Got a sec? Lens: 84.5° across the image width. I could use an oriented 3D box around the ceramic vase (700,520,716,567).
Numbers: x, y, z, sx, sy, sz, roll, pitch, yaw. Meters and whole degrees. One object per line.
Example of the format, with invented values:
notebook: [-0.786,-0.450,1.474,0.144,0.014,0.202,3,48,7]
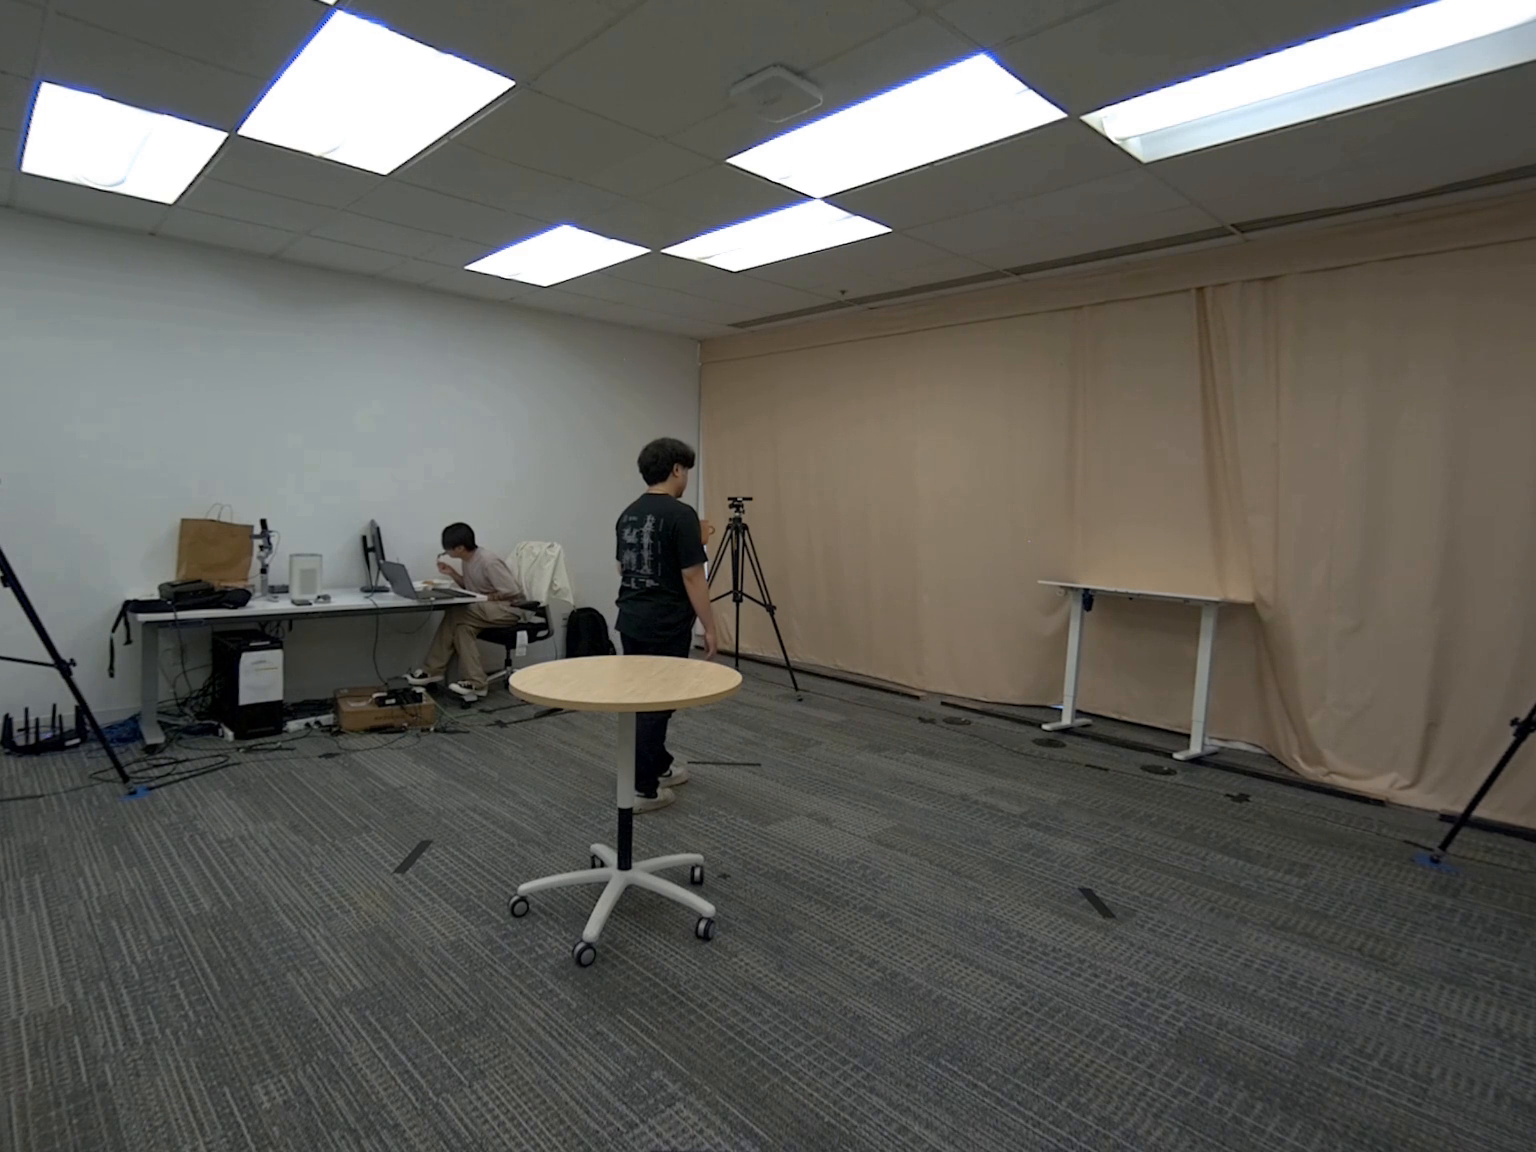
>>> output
ceramic vase: [-0.361,-0.164,4.114,0.131,0.219,0.163,0,2,-41]
